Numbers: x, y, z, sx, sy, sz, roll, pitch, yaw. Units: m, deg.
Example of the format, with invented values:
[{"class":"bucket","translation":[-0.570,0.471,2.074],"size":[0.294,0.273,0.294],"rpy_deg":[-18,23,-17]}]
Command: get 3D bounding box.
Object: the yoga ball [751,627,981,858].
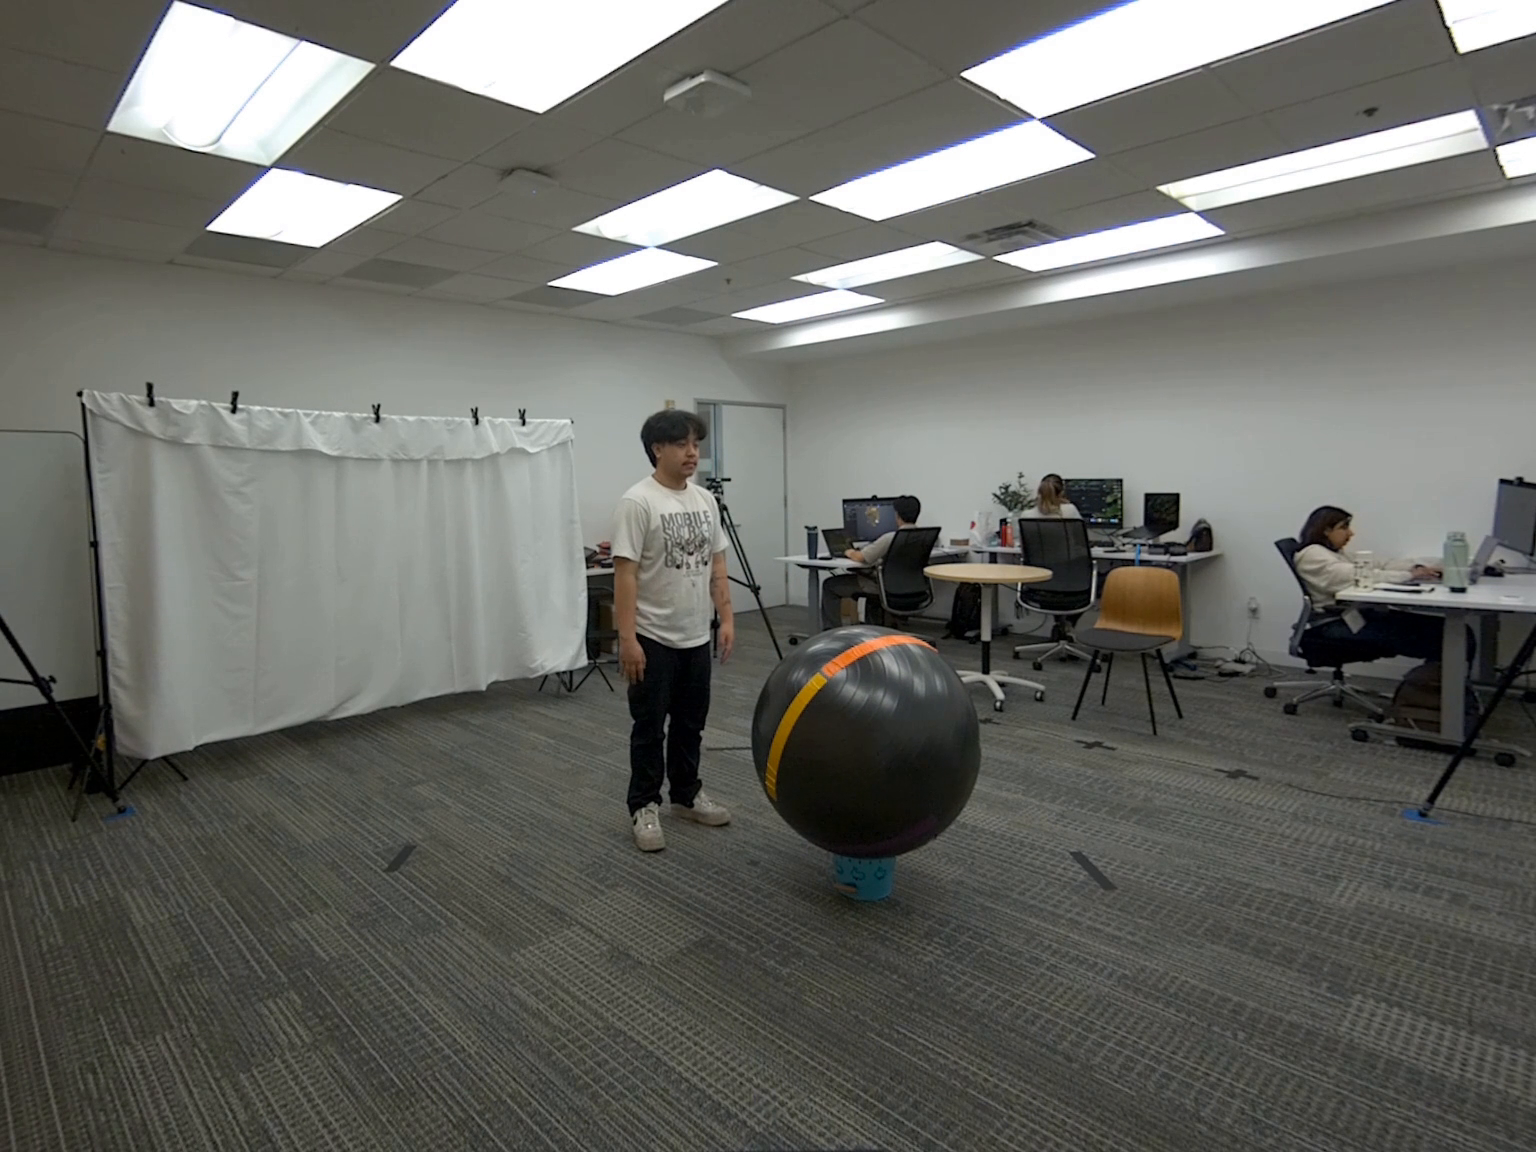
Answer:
[{"class":"yoga ball","translation":[0.323,0.551,2.864],"size":[0.757,0.755,0.762],"rpy_deg":[-1,5,-2]}]
